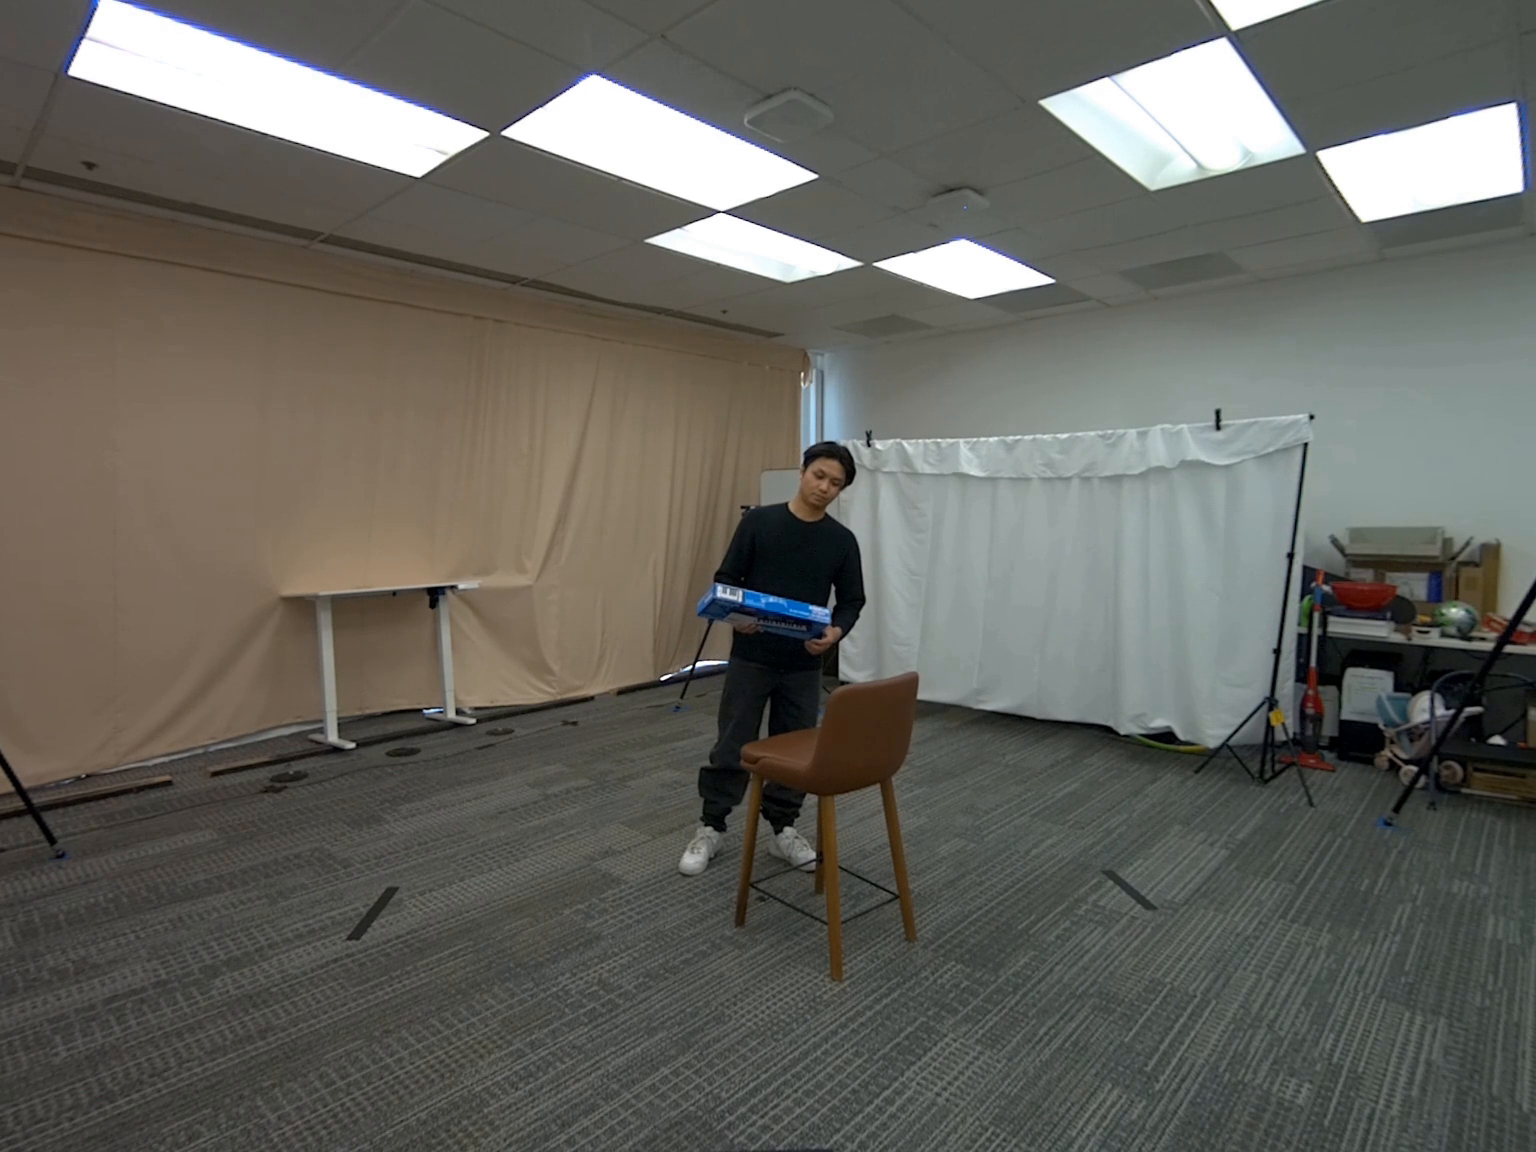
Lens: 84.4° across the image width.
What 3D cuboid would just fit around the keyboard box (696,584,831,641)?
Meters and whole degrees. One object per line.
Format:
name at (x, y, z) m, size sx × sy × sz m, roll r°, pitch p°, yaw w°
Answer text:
keyboard box at (-0.018, 0.128, 2.953) m, size 0.428 × 0.060 × 0.177 m, roll 14°, pitch -30°, yaw -19°
